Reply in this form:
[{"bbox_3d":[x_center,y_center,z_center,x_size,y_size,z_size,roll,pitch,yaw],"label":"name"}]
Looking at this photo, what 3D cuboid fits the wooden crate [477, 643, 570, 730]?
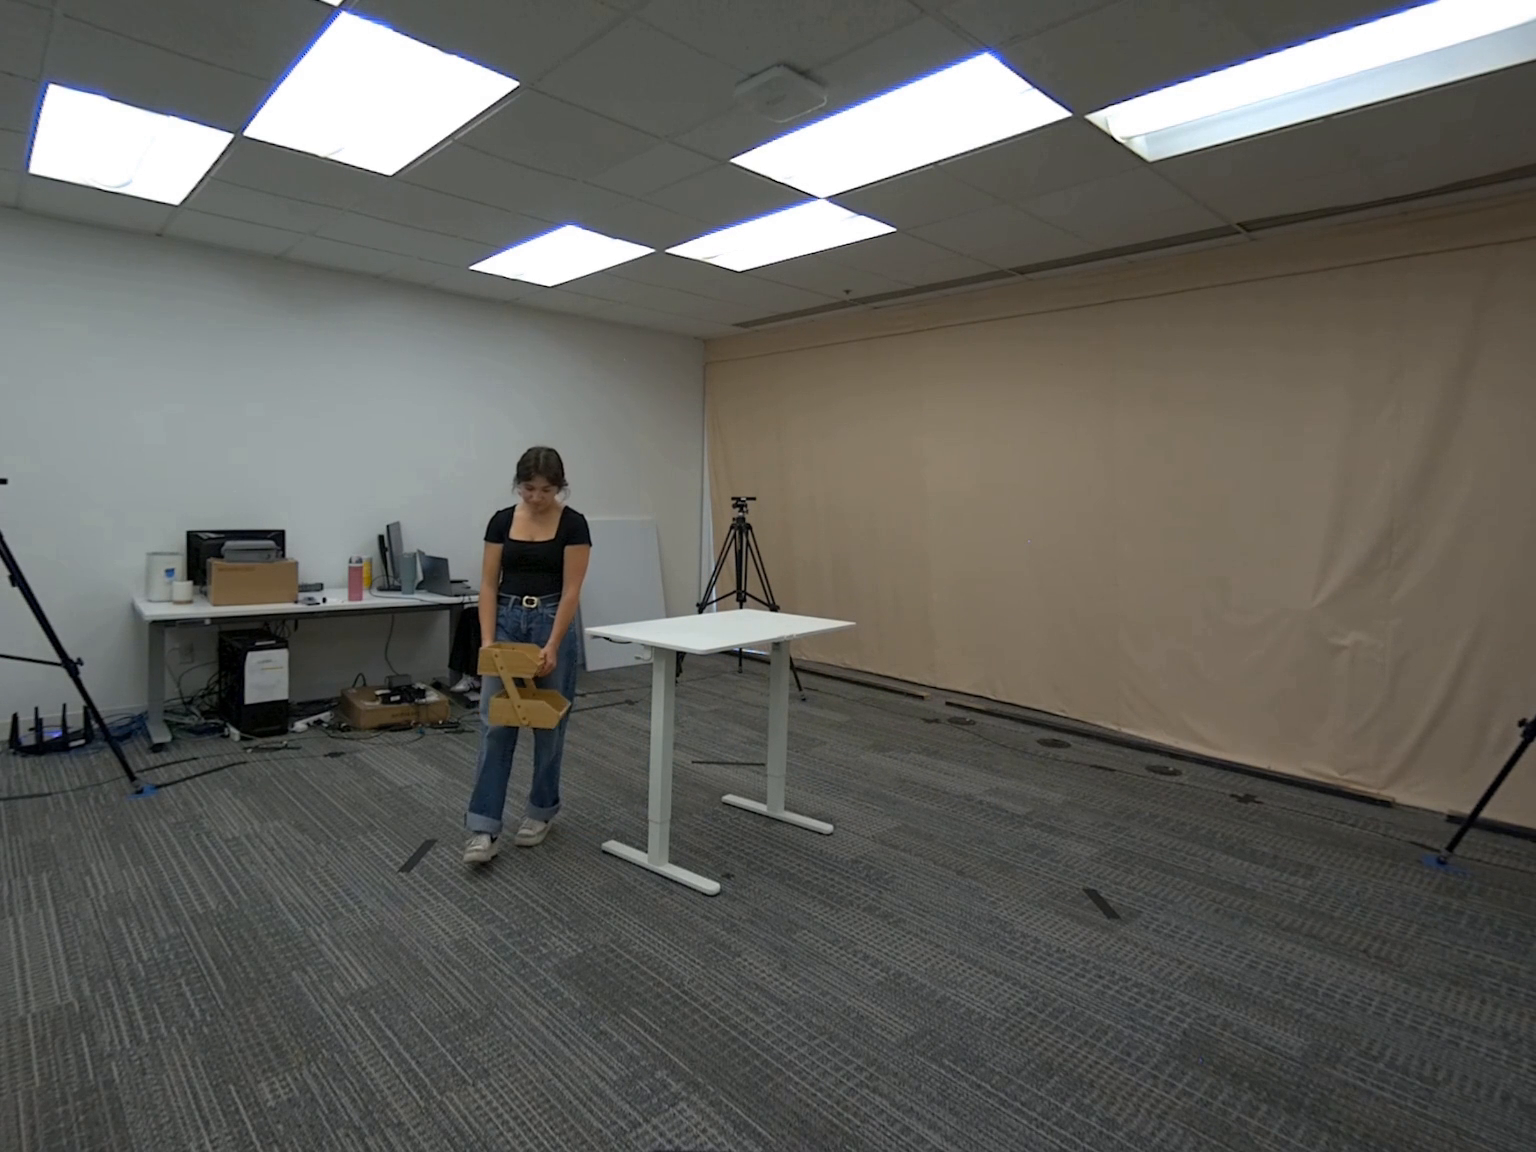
[{"bbox_3d":[-0.878,0.390,3.075,0.300,0.274,0.325,3,-2,-6],"label":"wooden crate"}]
